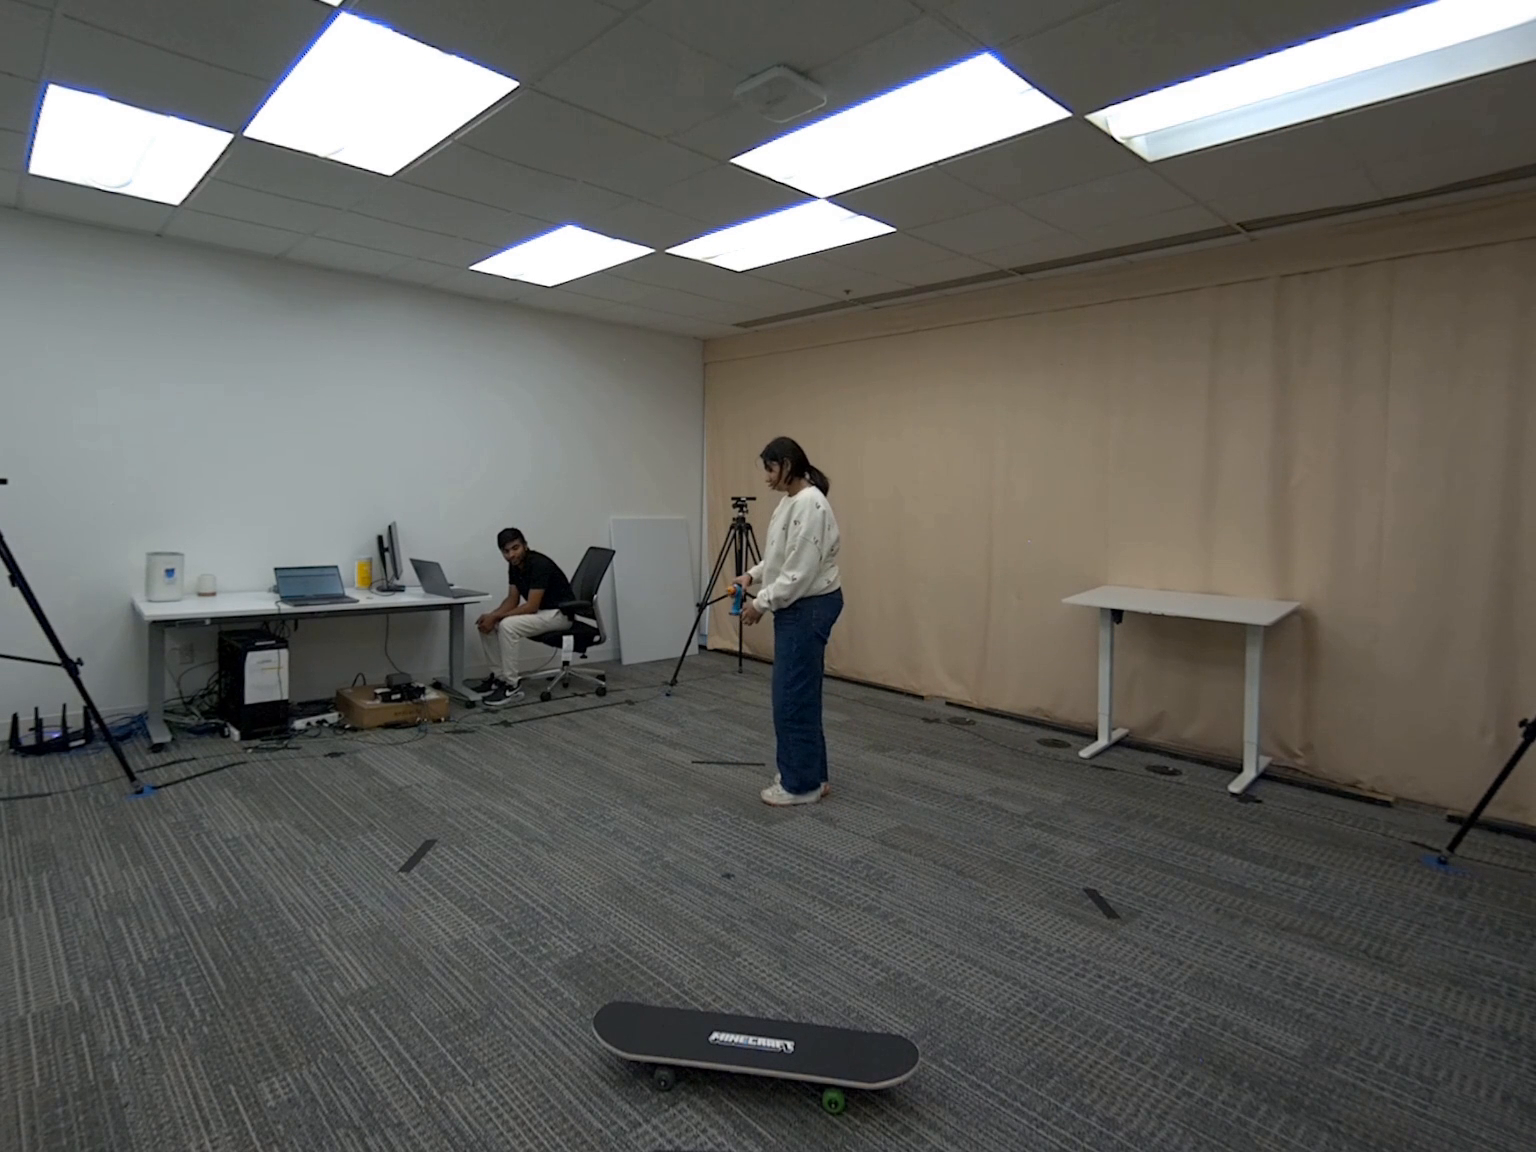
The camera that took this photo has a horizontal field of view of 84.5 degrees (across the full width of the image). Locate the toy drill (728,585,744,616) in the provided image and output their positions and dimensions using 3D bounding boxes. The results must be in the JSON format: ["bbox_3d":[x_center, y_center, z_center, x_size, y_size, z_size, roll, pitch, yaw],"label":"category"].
[{"bbox_3d":[-0.167,0.112,3.936,0.062,0.147,0.166,1,-7,24],"label":"toy drill"}]
